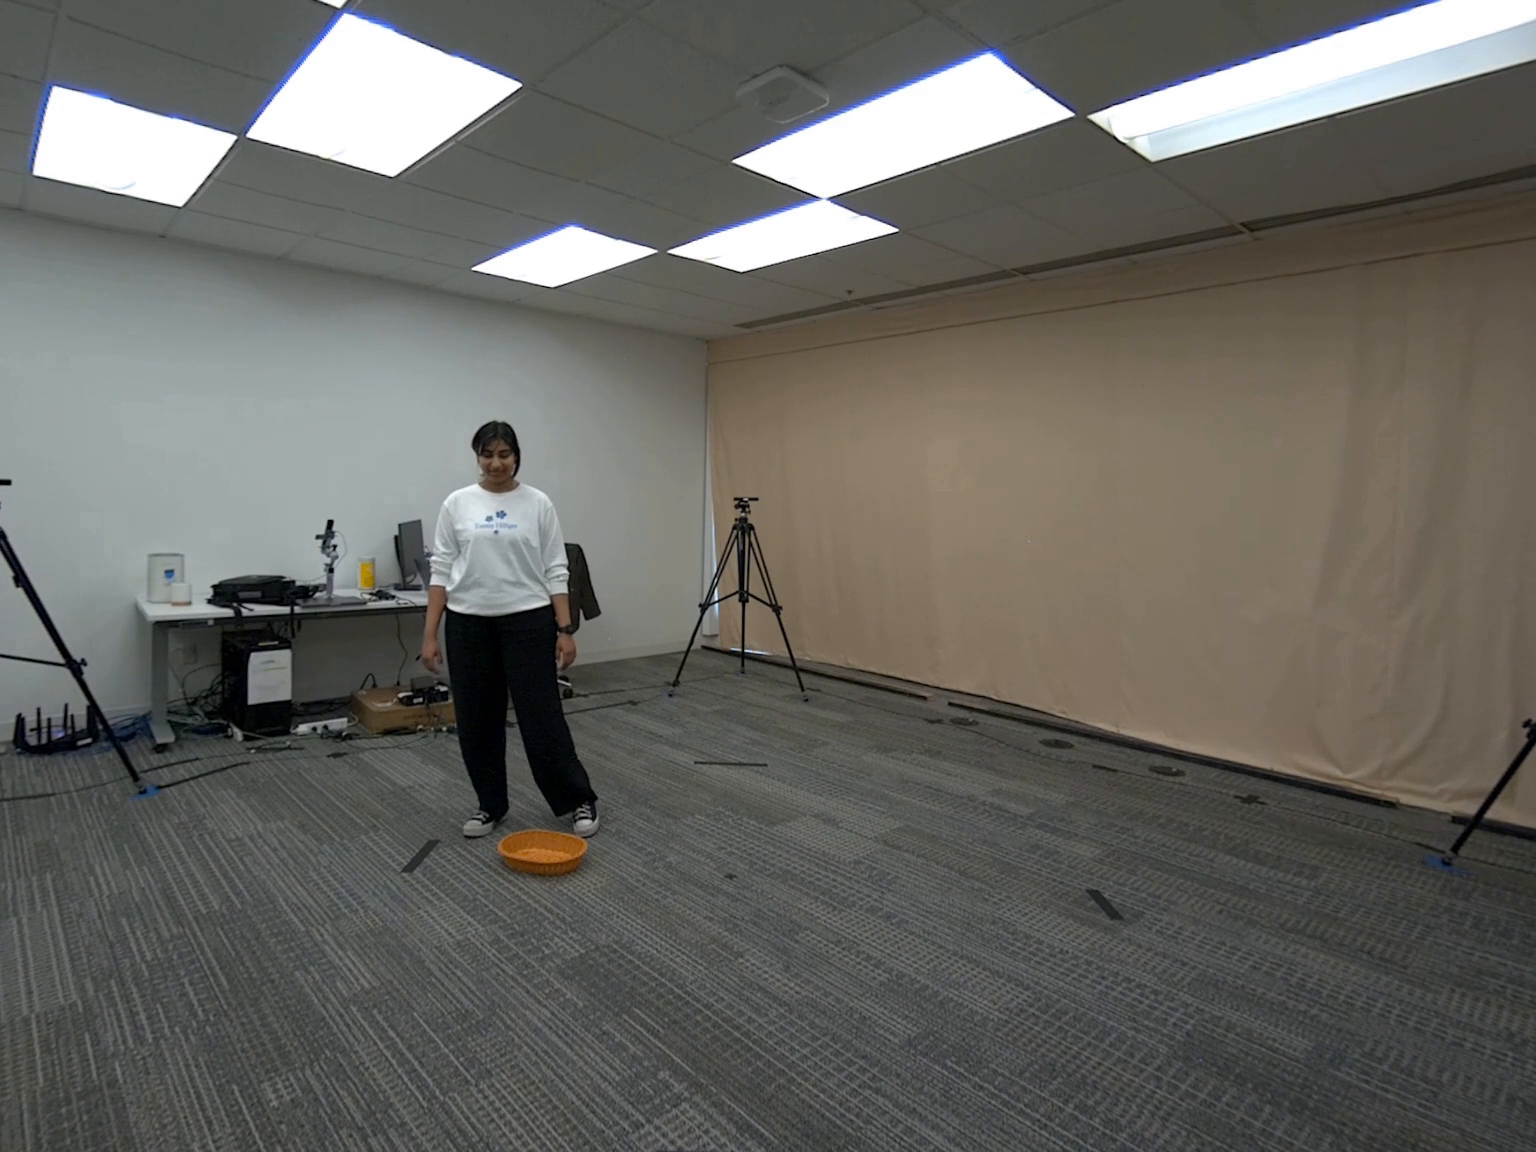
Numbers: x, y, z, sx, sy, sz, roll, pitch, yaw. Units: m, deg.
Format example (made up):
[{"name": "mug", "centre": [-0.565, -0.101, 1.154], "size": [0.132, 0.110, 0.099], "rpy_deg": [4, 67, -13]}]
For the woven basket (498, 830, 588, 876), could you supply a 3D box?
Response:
[{"name": "woven basket", "centre": [-0.857, 1.049, 3.170], "size": [0.355, 0.073, 0.250], "rpy_deg": [3, 7, 17]}]
